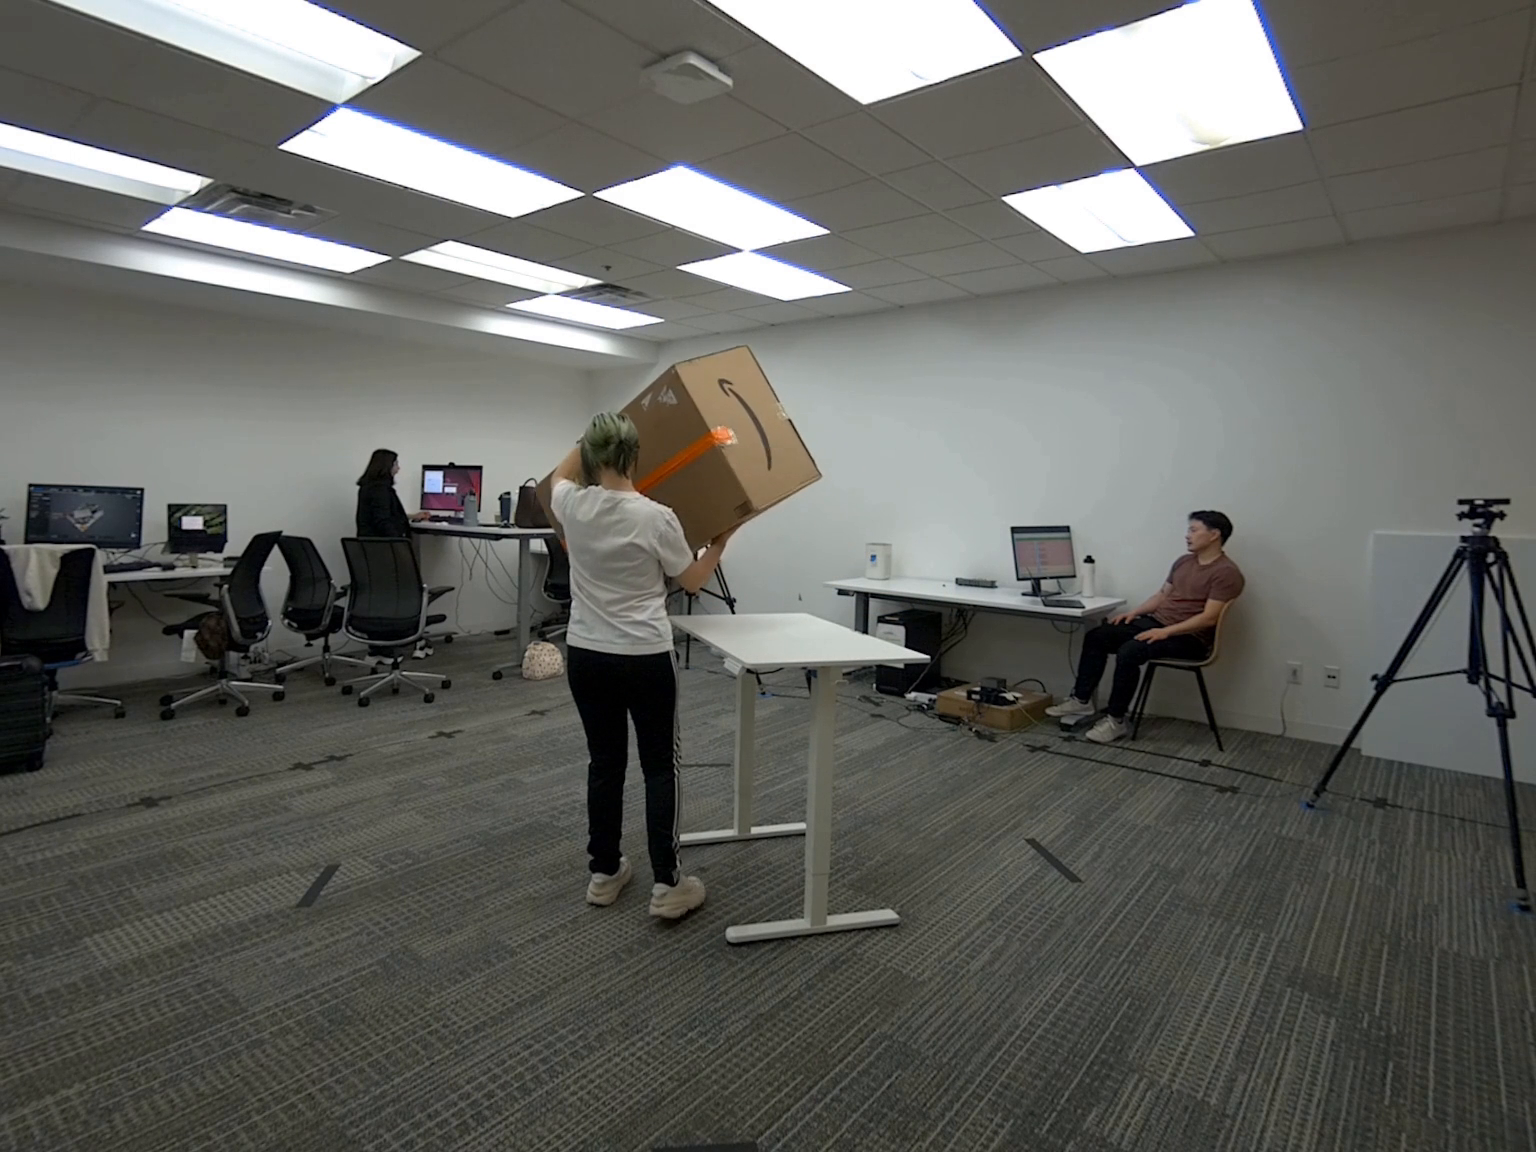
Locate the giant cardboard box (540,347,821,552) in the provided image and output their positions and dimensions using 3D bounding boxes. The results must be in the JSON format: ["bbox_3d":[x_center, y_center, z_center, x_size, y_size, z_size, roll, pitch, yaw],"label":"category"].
[{"bbox_3d":[-0.402,-0.365,3.353,1.040,0.584,0.441,-29,1,43],"label":"giant cardboard box"}]
